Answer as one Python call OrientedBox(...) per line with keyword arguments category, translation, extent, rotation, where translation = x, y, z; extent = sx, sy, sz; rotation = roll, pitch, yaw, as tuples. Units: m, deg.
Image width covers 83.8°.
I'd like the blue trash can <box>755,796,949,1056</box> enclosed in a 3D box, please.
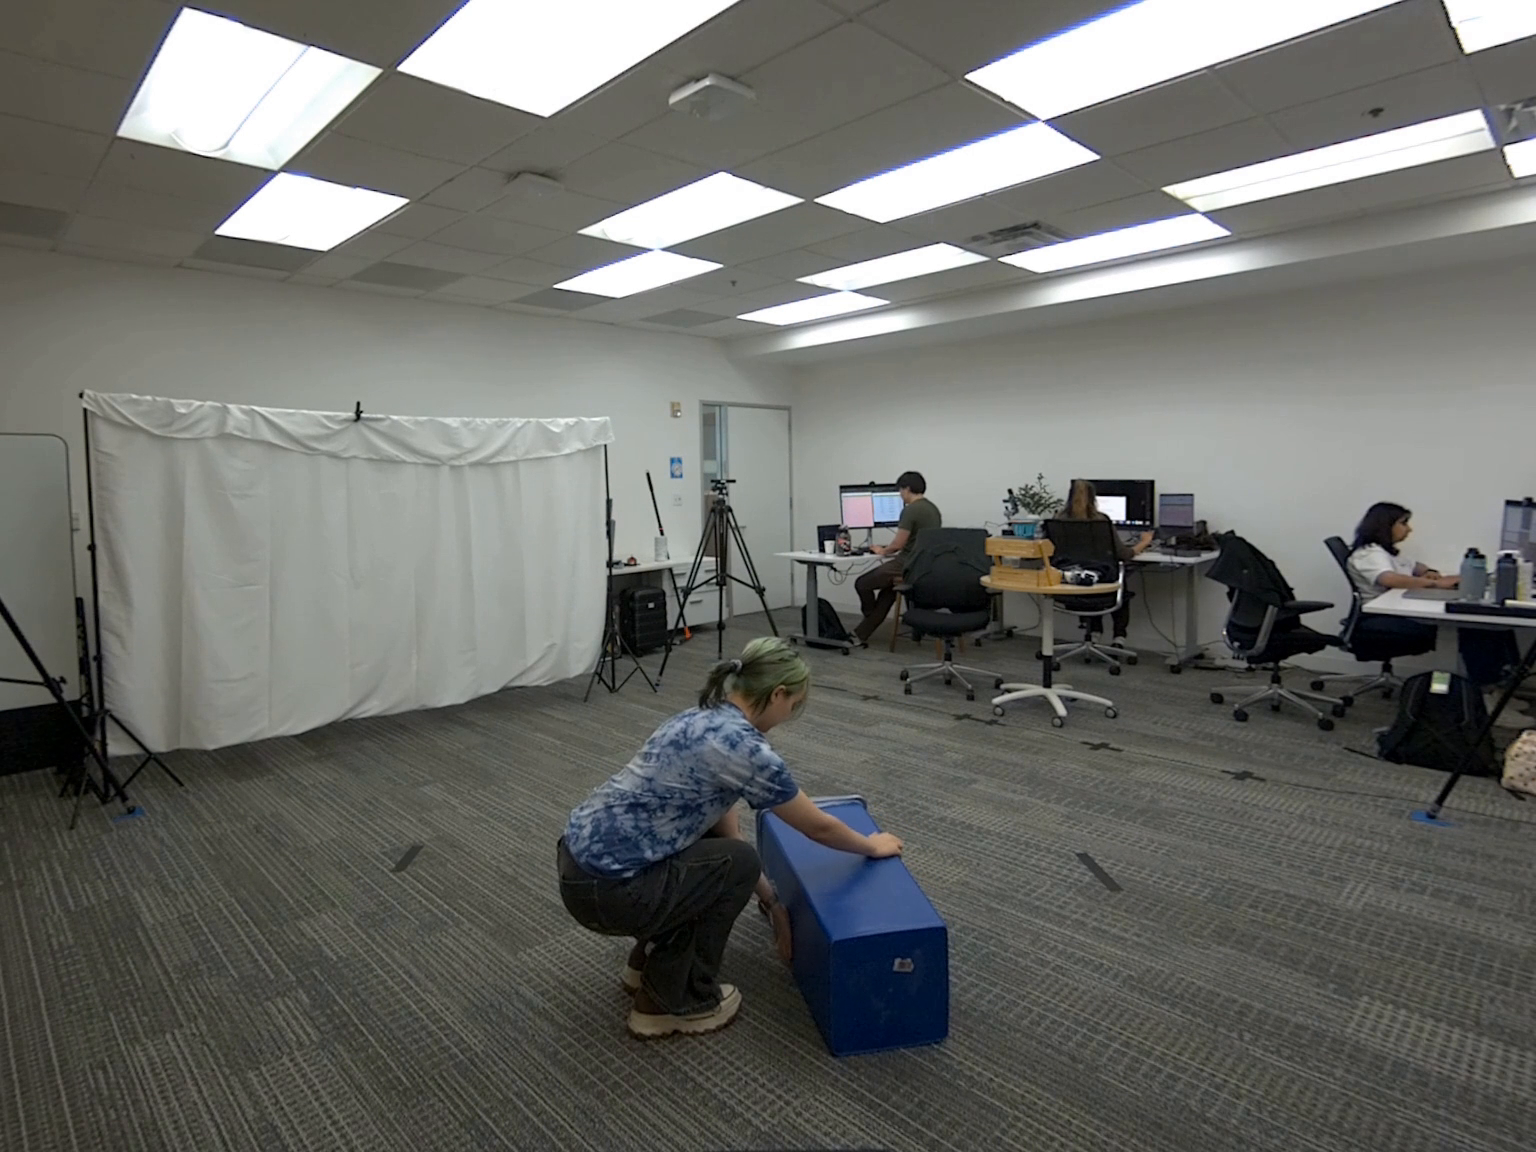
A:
OrientedBox(category="blue trash can", translation=(0.227, 0.944, 2.421), extent=(0.374, 0.372, 0.726), rotation=(-2, 8, -12))
